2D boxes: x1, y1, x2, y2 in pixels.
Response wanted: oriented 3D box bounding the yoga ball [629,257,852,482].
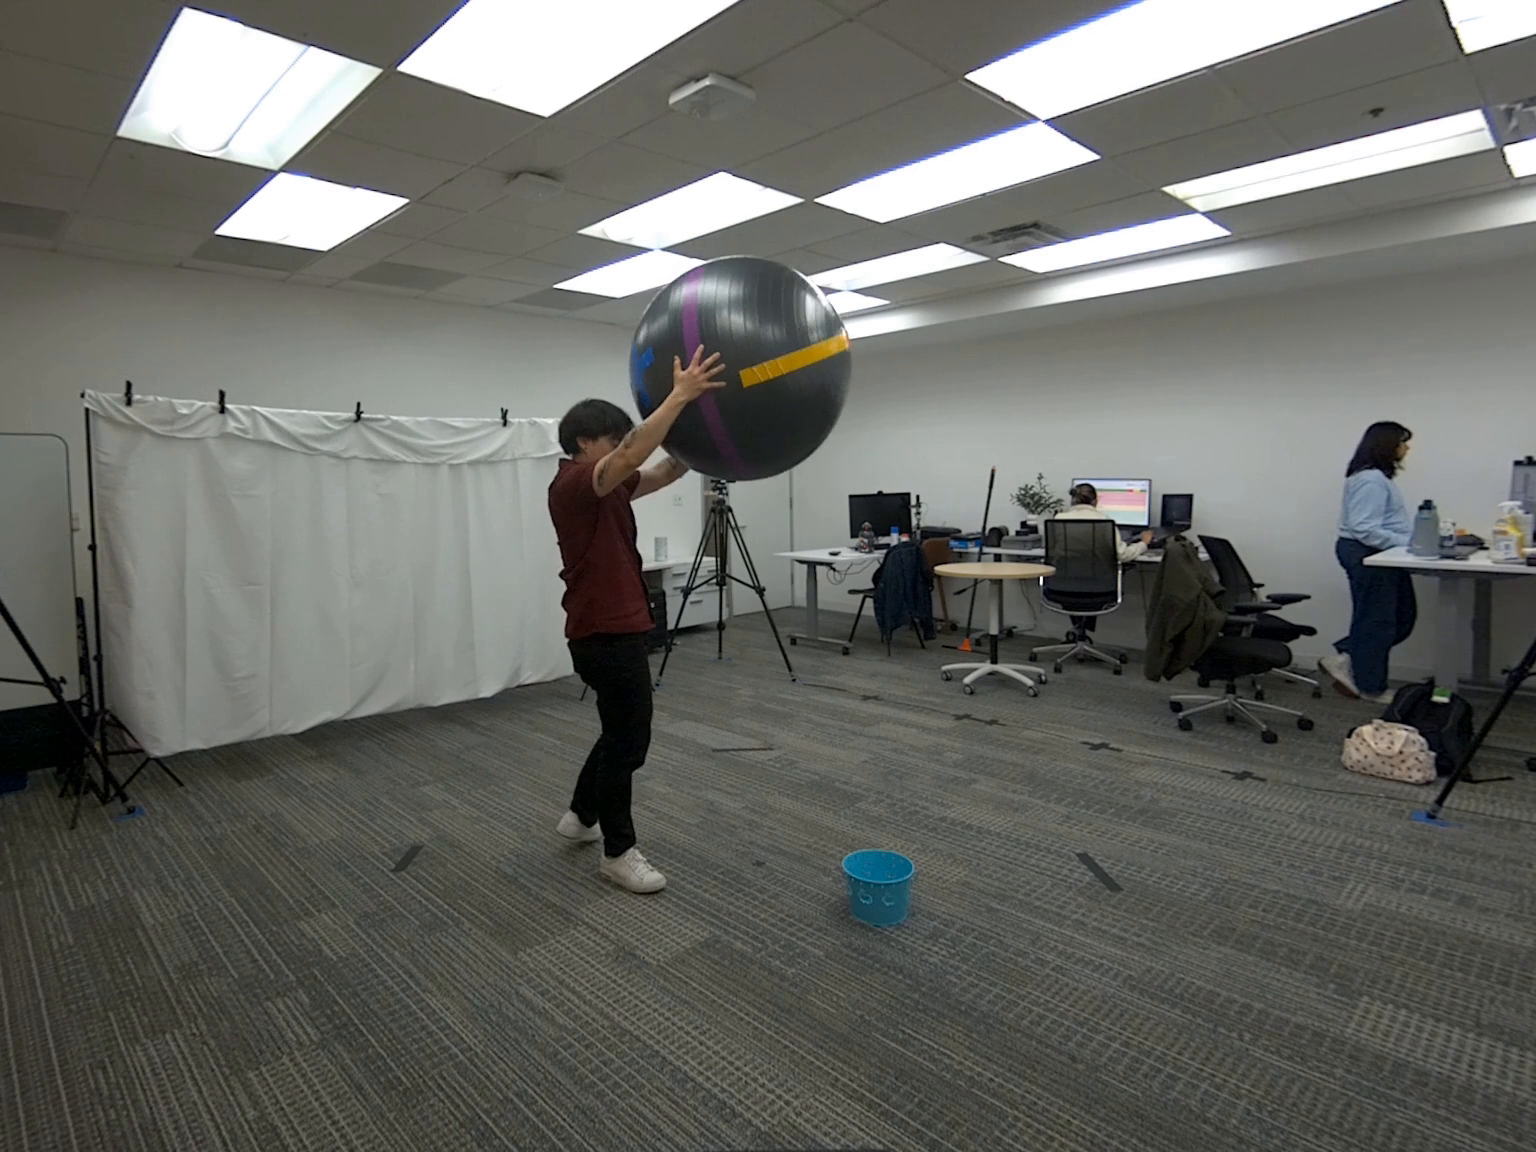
[{"bbox_3d":[-0.090,-0.694,2.938,0.757,0.755,0.762,-1,5,-2],"label":"yoga ball"}]
